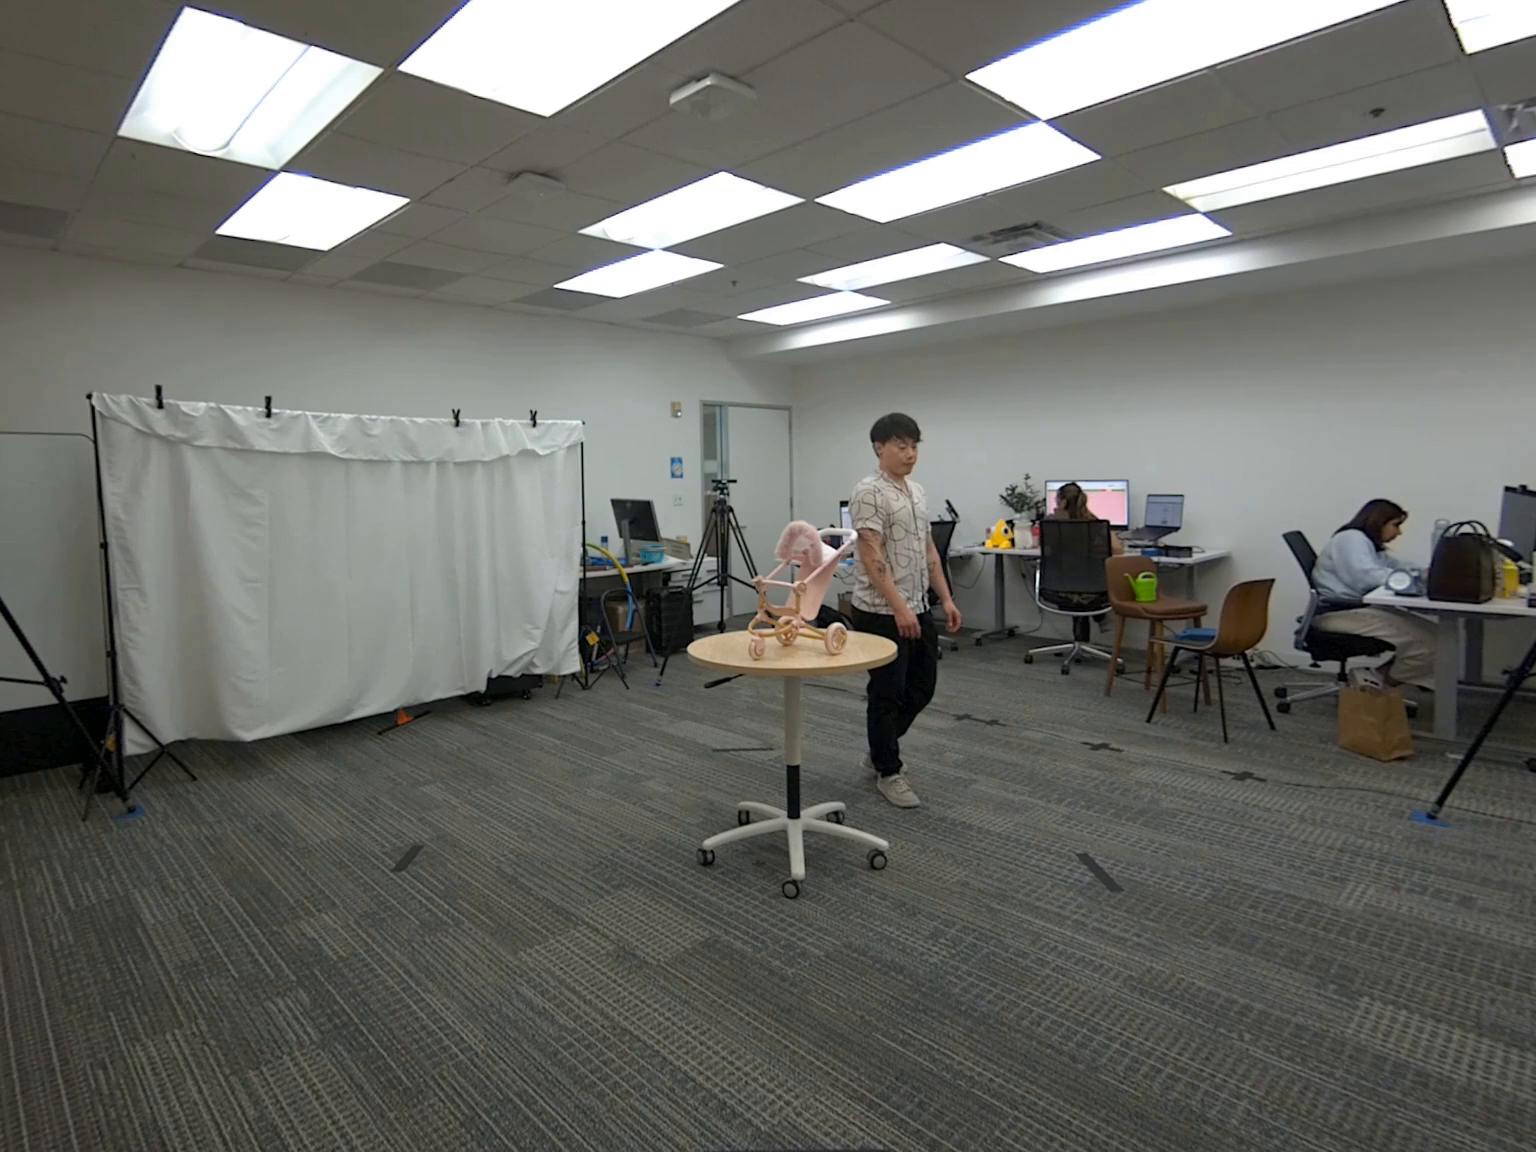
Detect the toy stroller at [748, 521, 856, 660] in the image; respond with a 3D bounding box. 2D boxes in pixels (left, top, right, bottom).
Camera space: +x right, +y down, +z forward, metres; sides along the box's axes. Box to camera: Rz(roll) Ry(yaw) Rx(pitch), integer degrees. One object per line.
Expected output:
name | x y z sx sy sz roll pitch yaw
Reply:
toy stroller | 0.104 0.047 3.016 0.330 0.537 0.290 17 -8 -37
